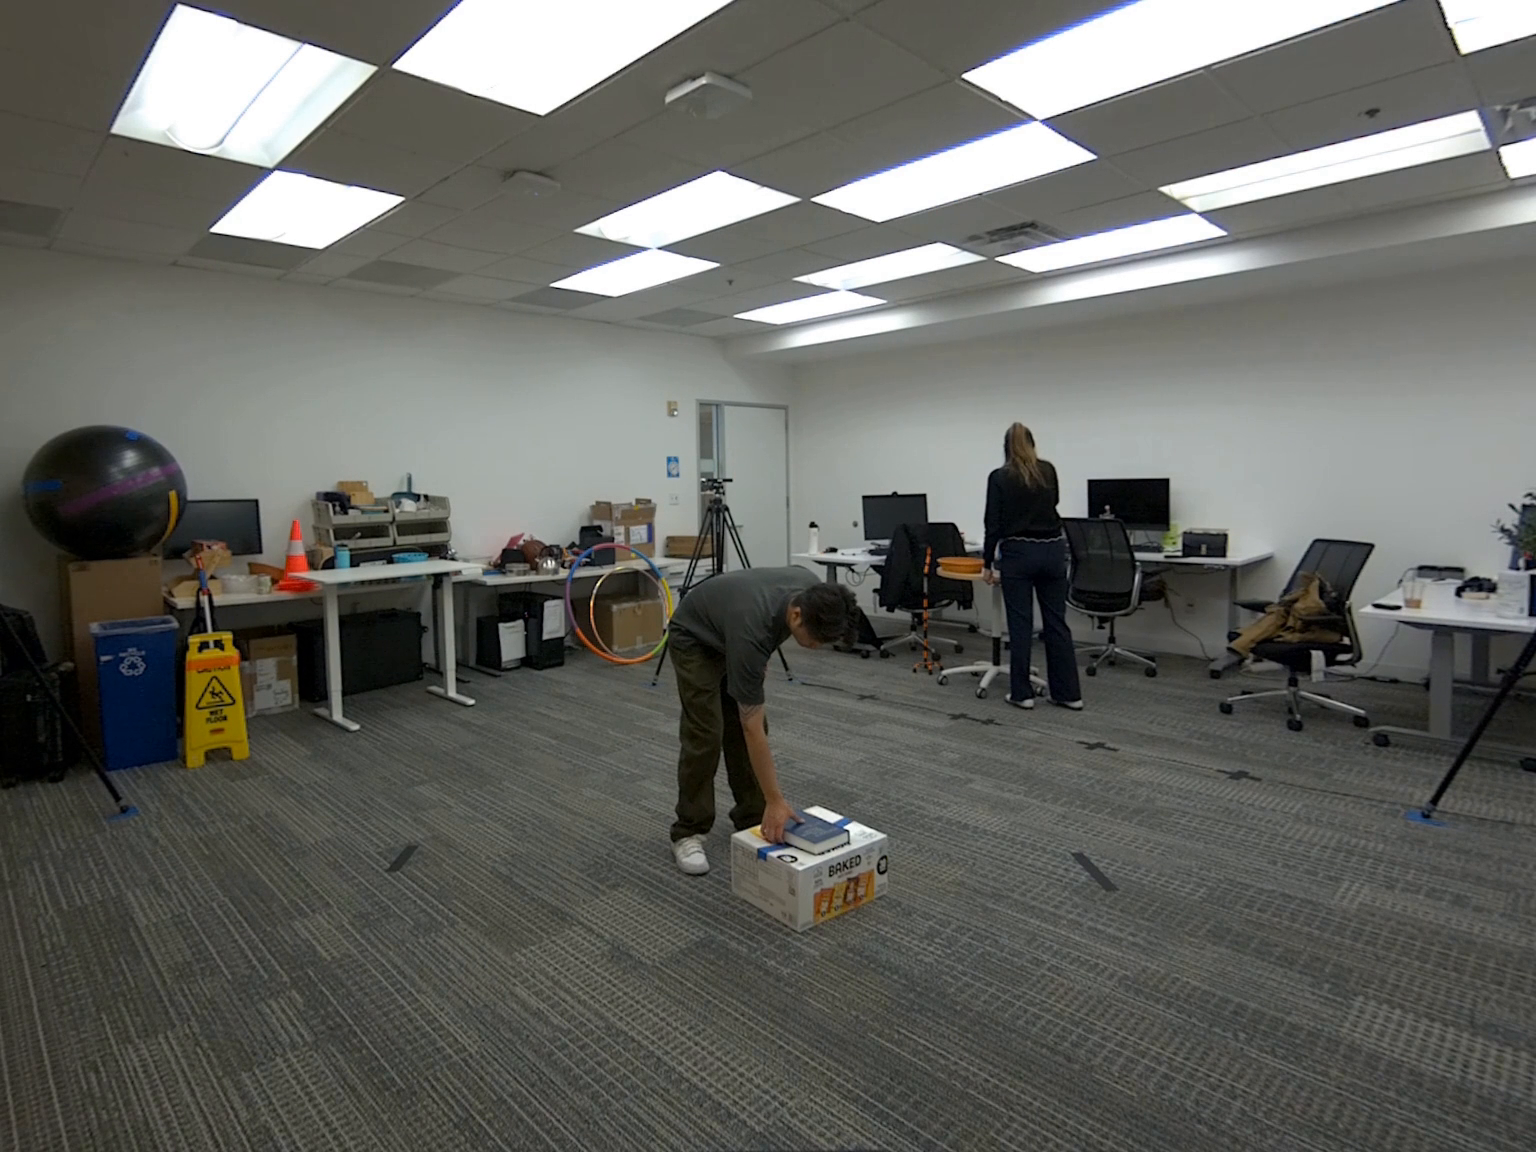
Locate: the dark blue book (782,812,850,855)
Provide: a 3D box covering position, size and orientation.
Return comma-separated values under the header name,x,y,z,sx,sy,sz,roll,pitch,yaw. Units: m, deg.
name,x,y,z,sx,sy,sz,roll,pitch,yaw
dark blue book,0.144,0.864,2.850,0.159,0.045,0.252,-7,8,-38
